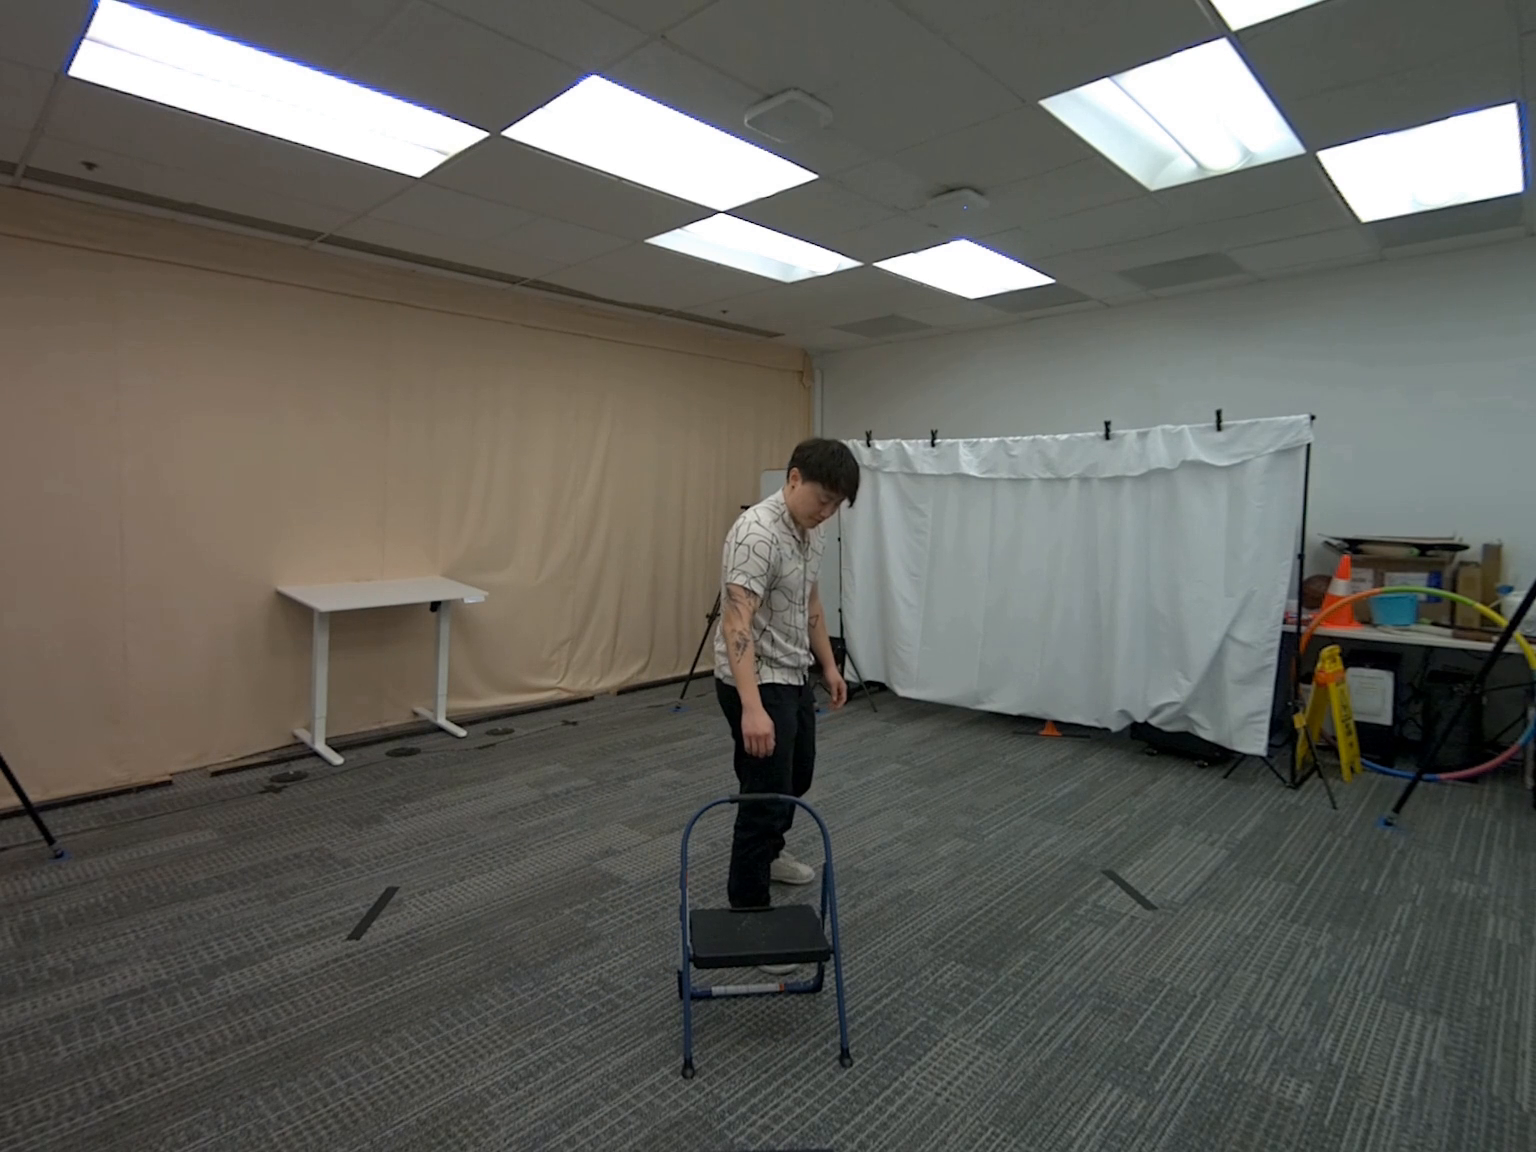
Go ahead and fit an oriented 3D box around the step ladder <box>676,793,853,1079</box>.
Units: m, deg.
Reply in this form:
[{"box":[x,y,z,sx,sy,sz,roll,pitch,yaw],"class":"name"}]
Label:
[{"box":[-0.023,0.905,2.227,0.428,0.605,0.352,0,4,-7],"class":"step ladder"}]
